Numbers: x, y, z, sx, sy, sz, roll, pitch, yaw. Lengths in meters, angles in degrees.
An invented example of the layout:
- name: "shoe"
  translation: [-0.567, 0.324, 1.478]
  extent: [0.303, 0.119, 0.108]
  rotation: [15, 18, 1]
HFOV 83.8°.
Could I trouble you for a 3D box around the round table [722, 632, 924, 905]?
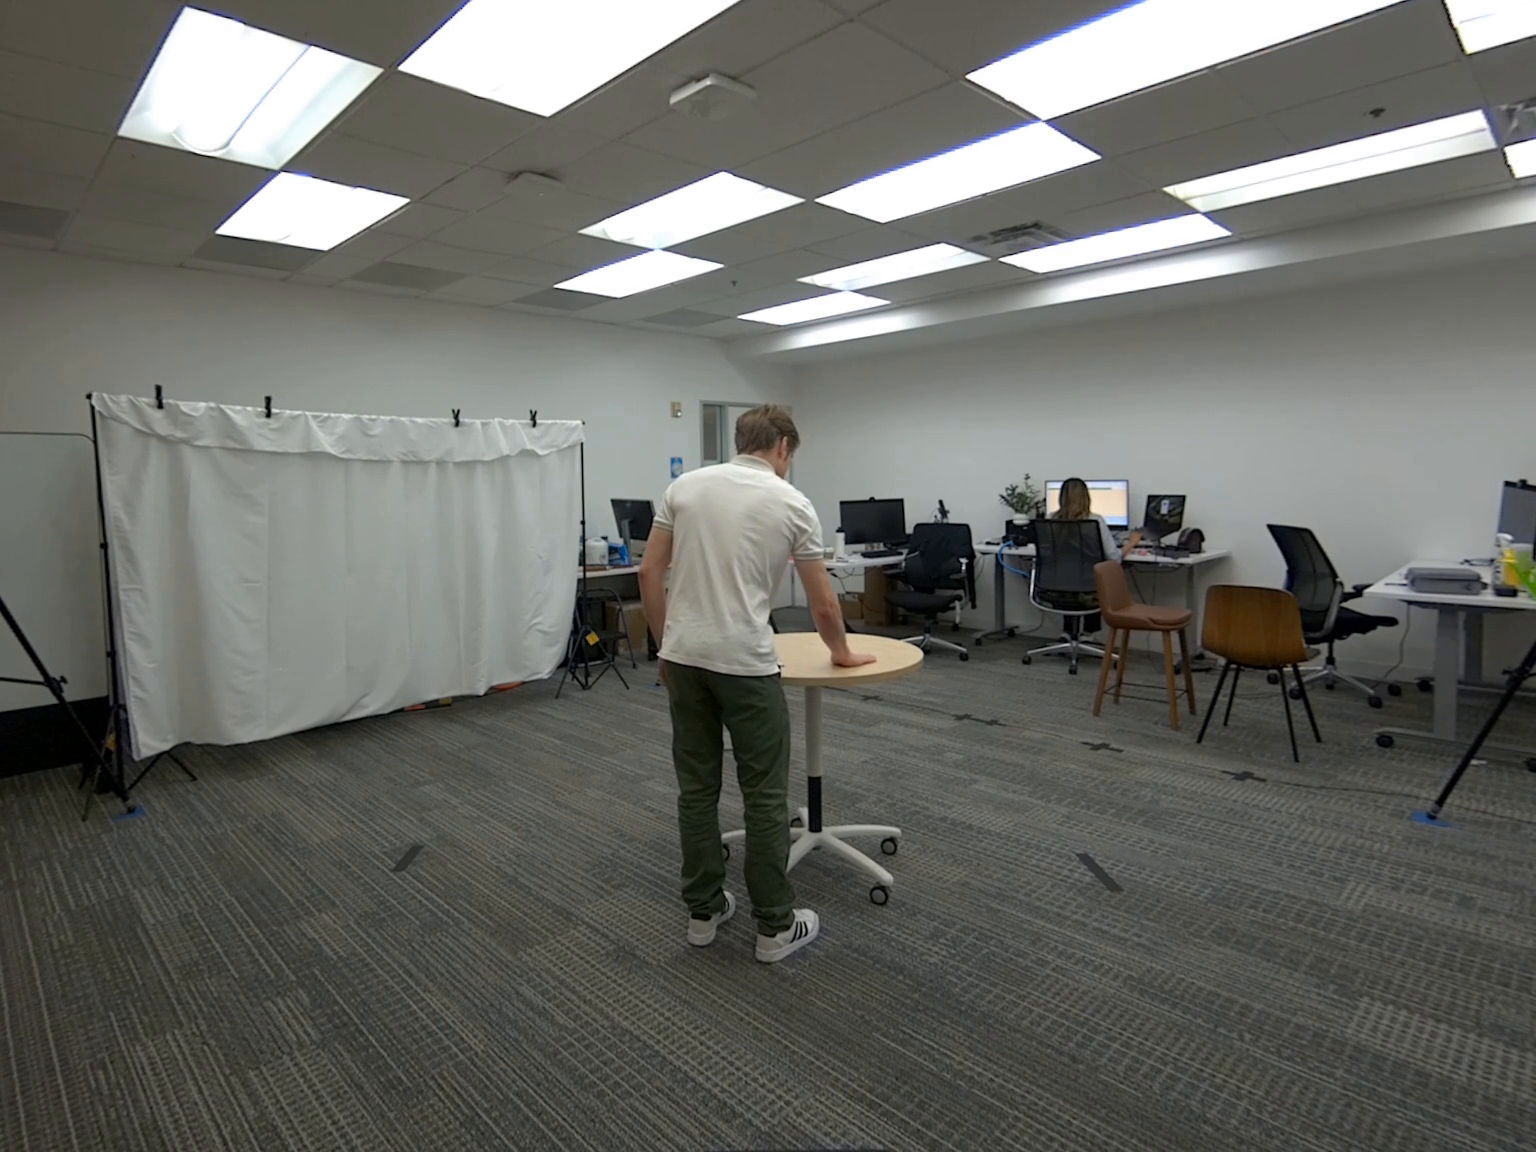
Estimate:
- name: "round table"
  translation: [0.181, 0.655, 3.046]
  extent: [0.784, 0.783, 0.789]
  rotation: [-2, 5, -2]
